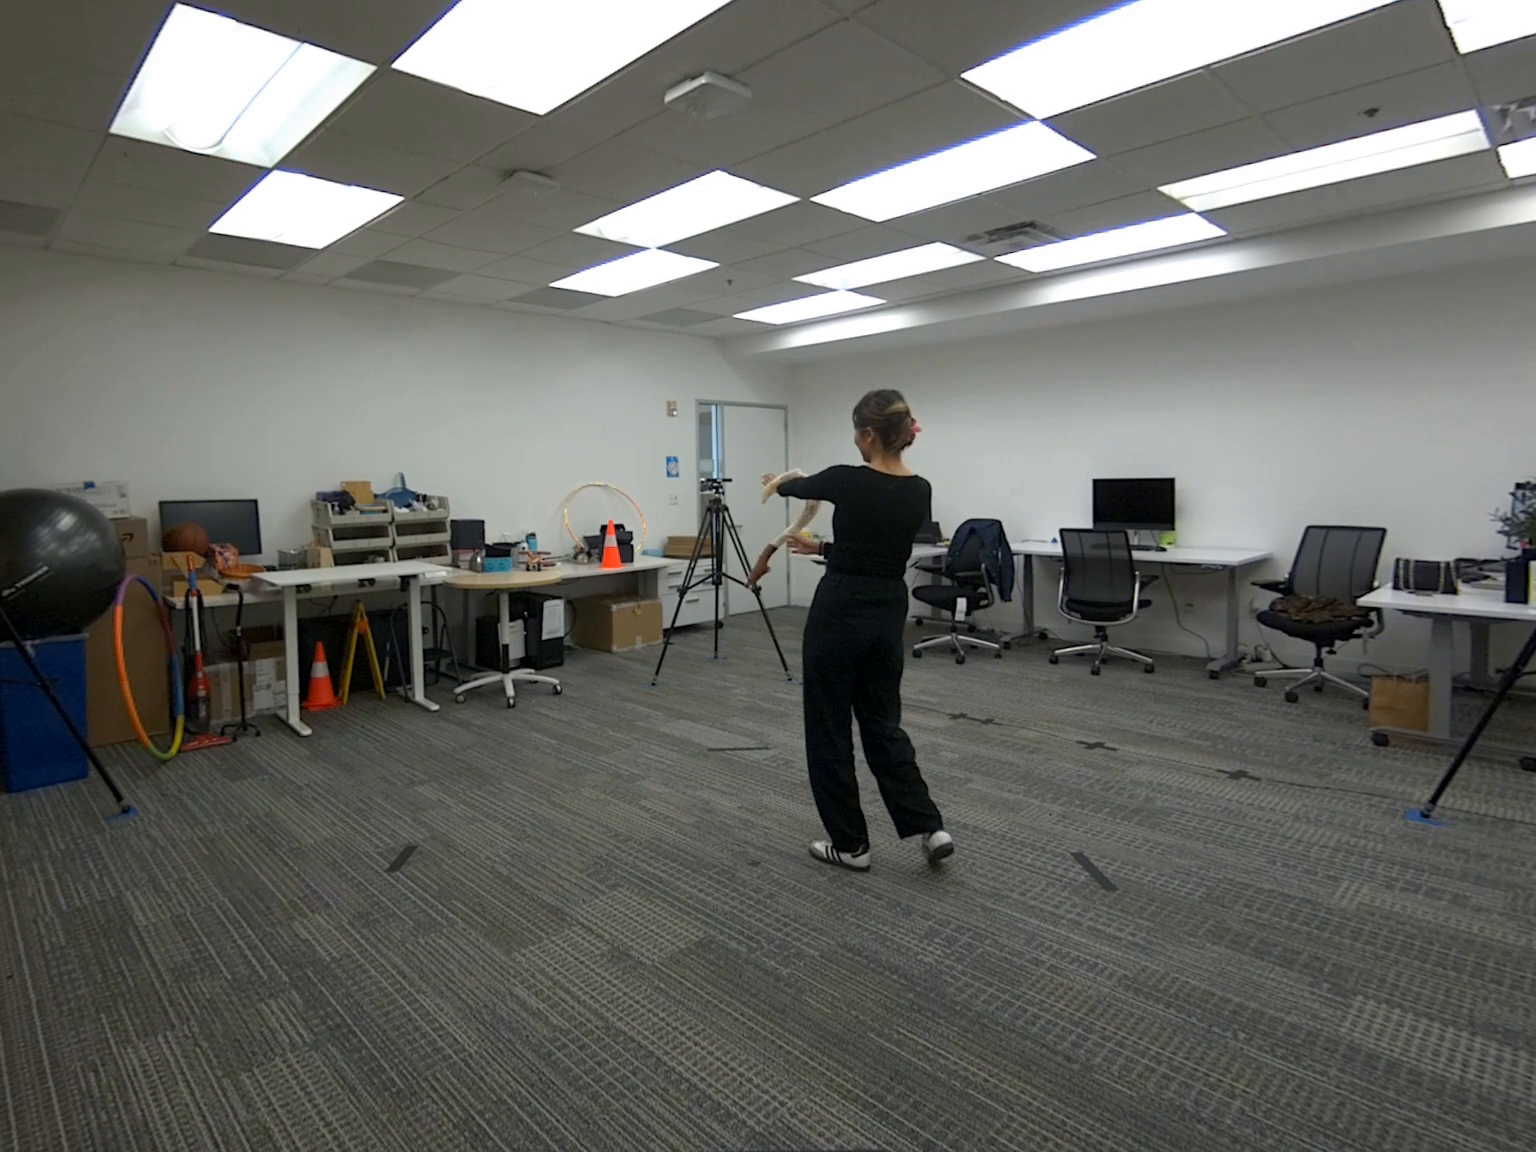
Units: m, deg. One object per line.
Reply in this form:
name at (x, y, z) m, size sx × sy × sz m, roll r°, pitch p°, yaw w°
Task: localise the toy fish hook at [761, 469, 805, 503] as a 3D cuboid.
toy fish hook at (0.025, -0.189, 3.391) m, size 0.228 × 0.506 × 0.047 m, roll 26°, pitch 0°, yaw 12°
